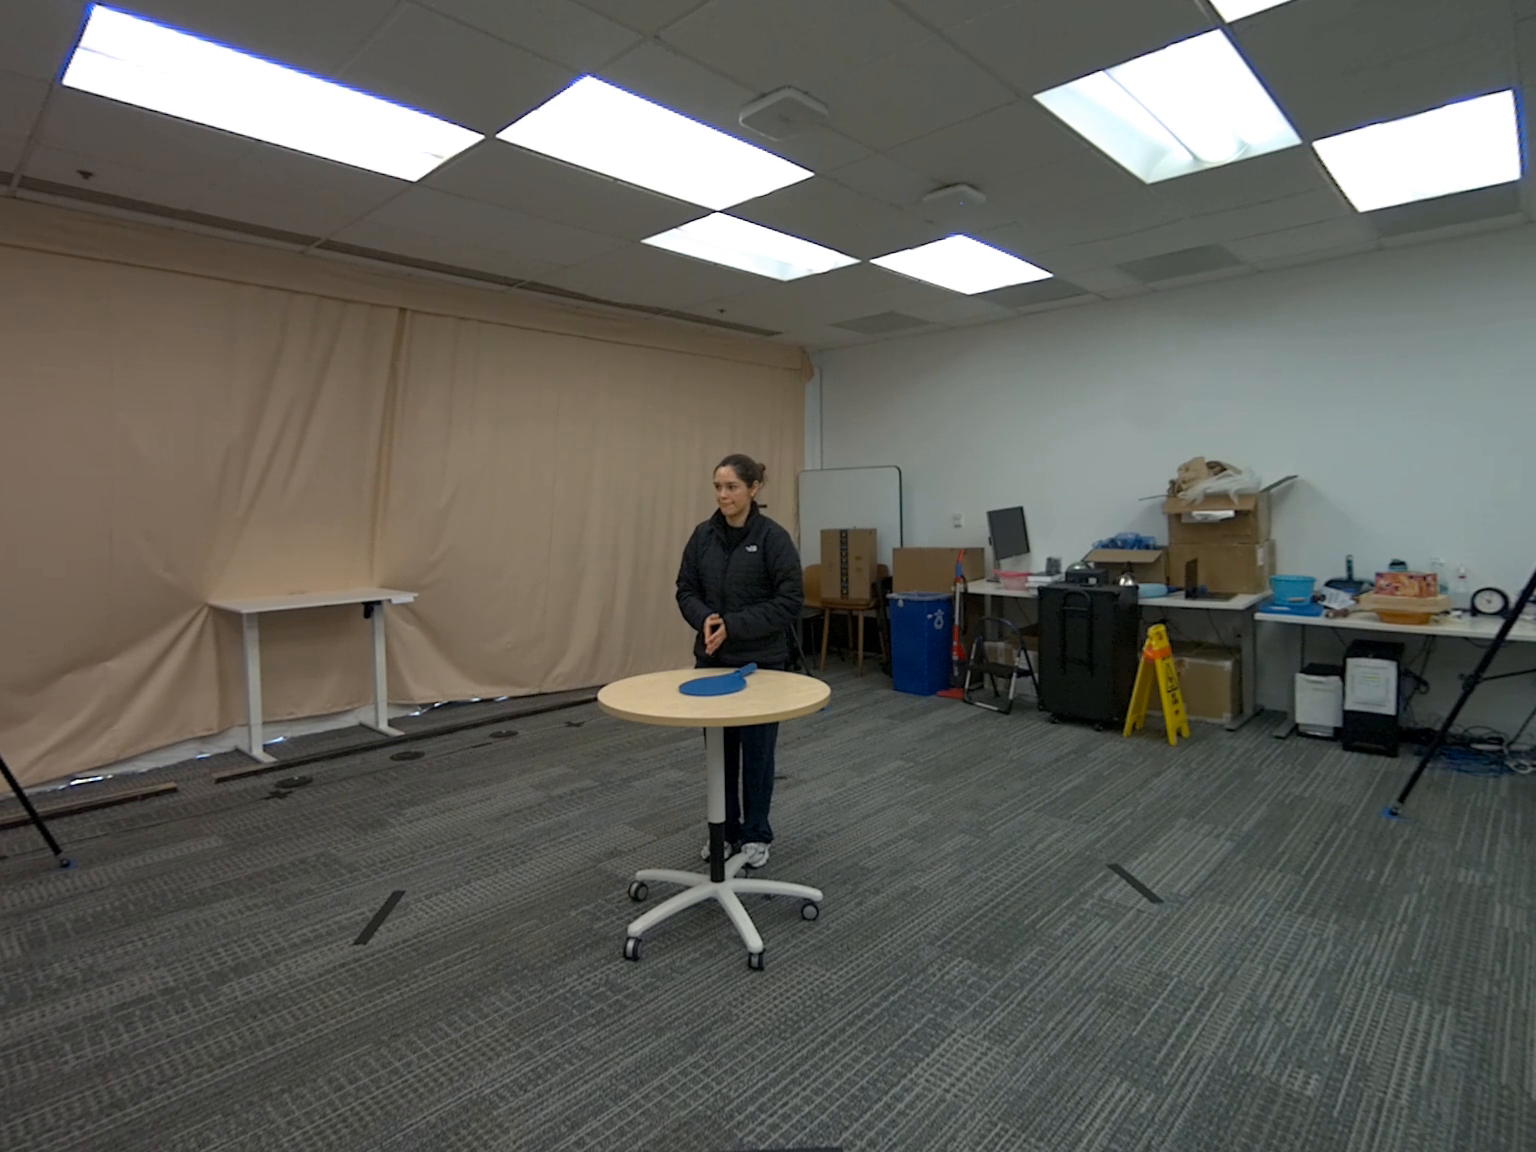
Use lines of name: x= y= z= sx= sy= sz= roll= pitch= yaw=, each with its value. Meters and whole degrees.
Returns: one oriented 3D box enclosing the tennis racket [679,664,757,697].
tennis racket: x=-0.148 y=0.360 z=2.887 sx=0.220 sy=0.031 sz=0.422 roll=3 pitch=7 yaw=29
